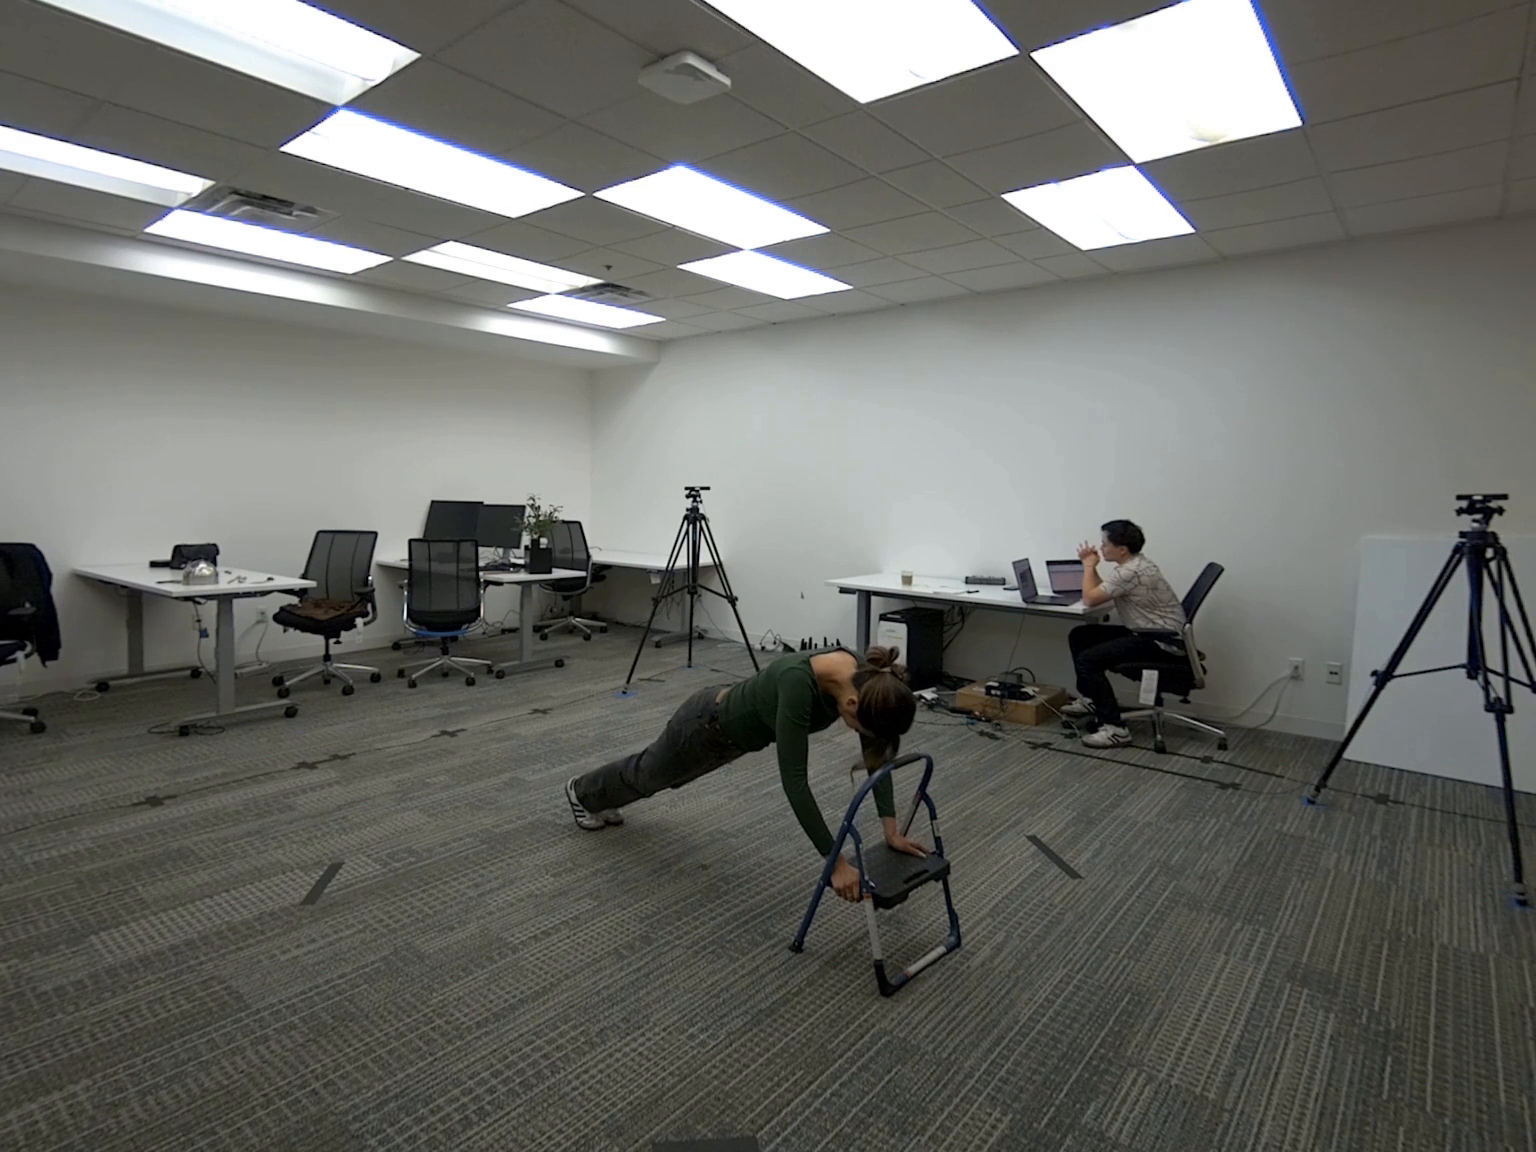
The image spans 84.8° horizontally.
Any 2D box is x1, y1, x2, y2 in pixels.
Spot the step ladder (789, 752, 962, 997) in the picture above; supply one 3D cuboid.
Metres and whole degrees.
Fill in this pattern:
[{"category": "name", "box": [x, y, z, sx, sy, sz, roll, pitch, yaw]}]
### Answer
[{"category": "step ladder", "box": [0.331, 0.827, 2.578, 0.361, 0.604, 0.418, 5, 5, 42]}]
